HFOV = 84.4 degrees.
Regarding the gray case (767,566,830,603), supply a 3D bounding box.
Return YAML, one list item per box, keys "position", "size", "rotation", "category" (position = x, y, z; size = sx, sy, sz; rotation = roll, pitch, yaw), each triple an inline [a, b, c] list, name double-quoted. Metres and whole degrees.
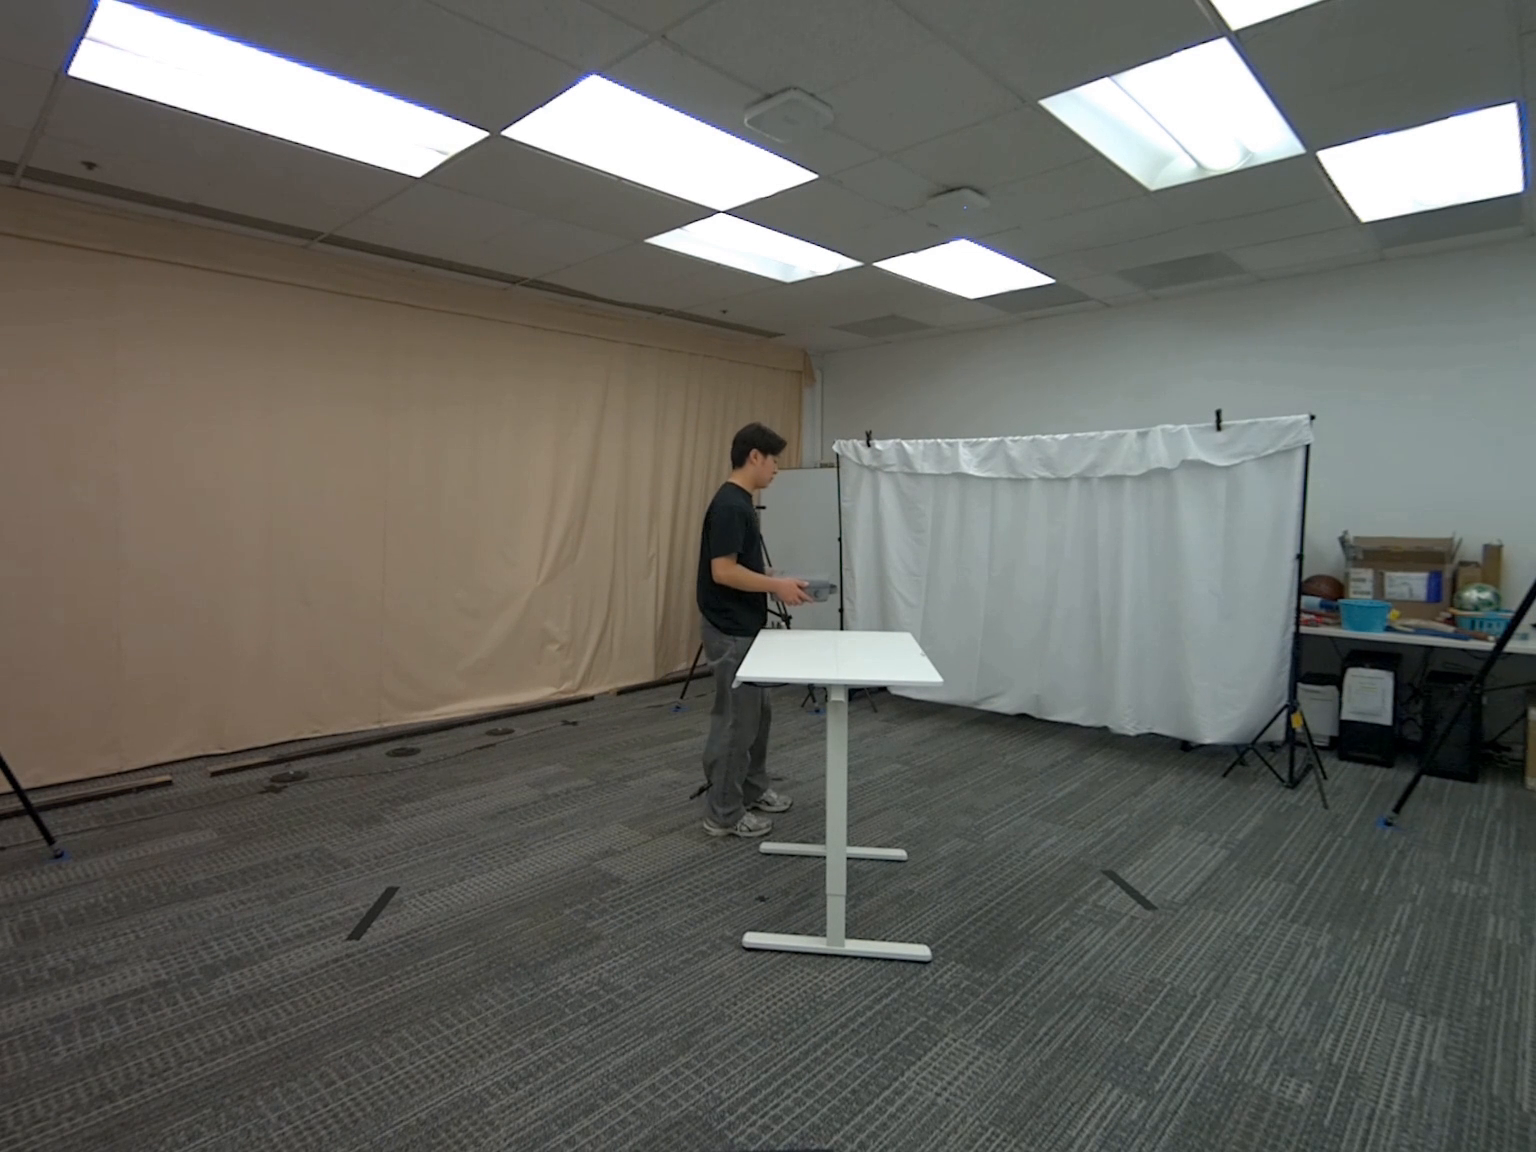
- position: [0.123, 0.033, 3.624]
  size: [0.265, 0.102, 0.287]
  rotation: [-1, 10, 4]
  category: "gray case"
